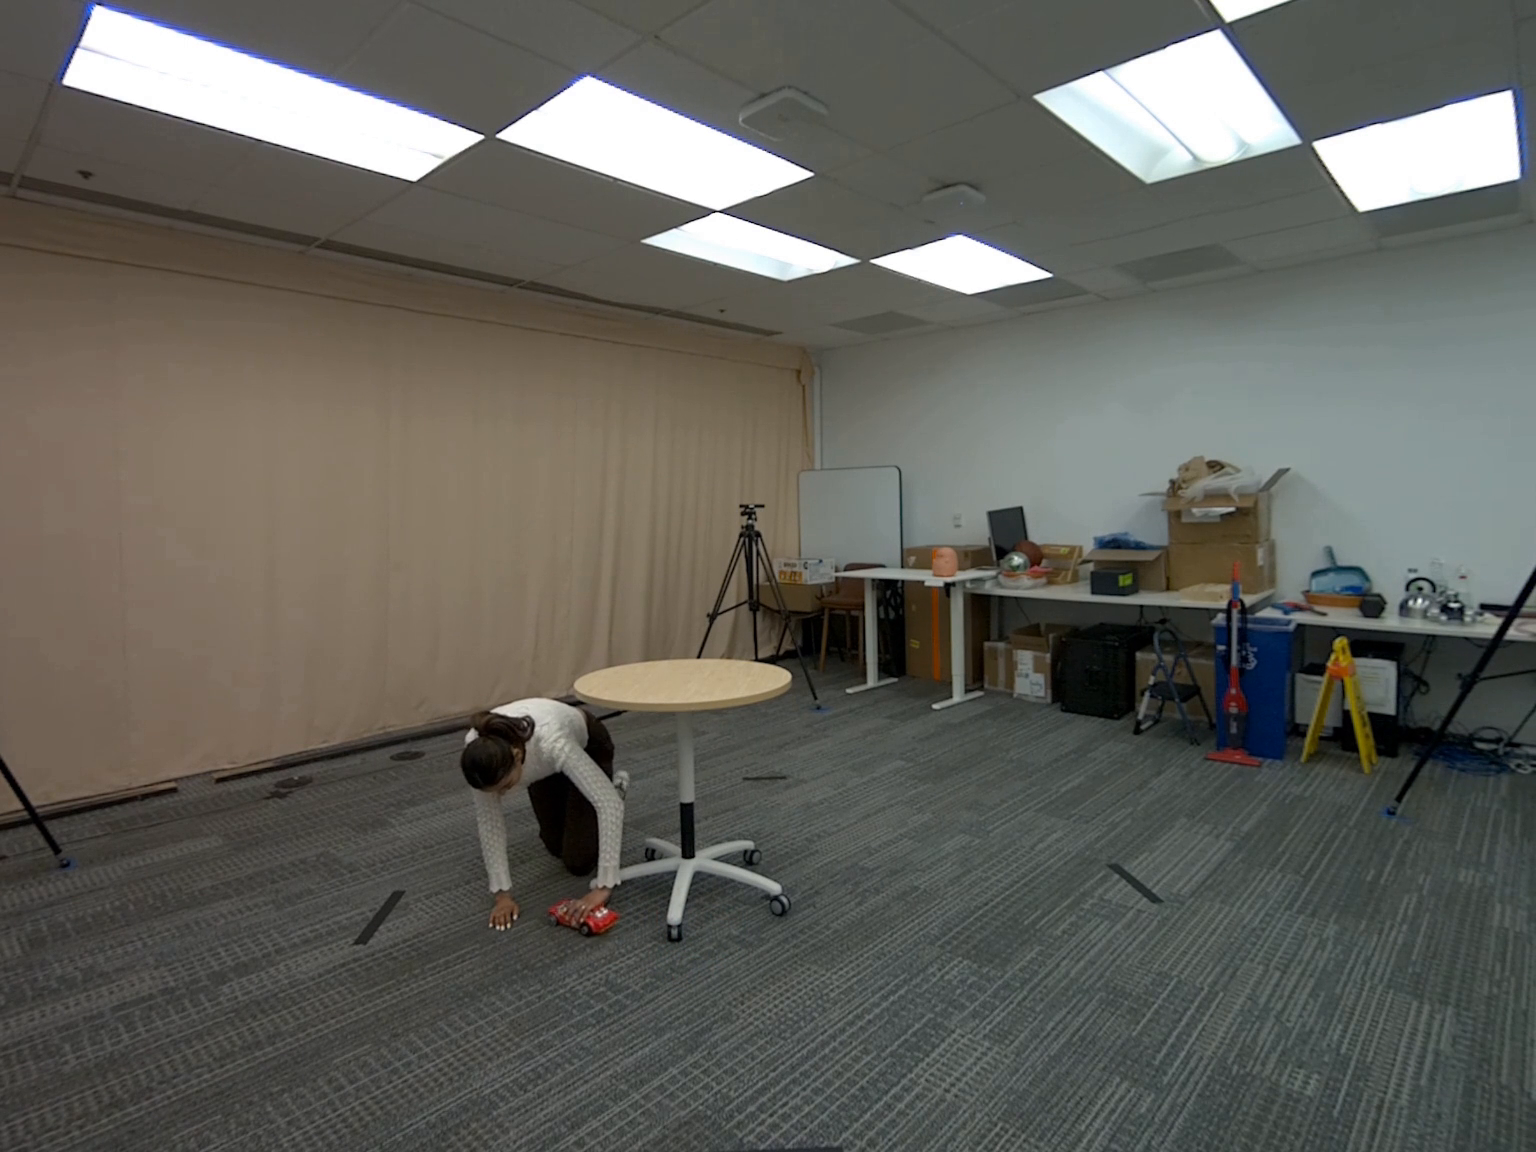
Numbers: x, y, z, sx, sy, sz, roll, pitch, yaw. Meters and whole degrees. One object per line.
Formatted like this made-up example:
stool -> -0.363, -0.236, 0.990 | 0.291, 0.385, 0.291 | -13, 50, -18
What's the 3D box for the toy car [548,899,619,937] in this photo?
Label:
toy car -> -0.611, 1.142, 2.809 | 0.260, 0.083, 0.127 | -13, -2, 25
